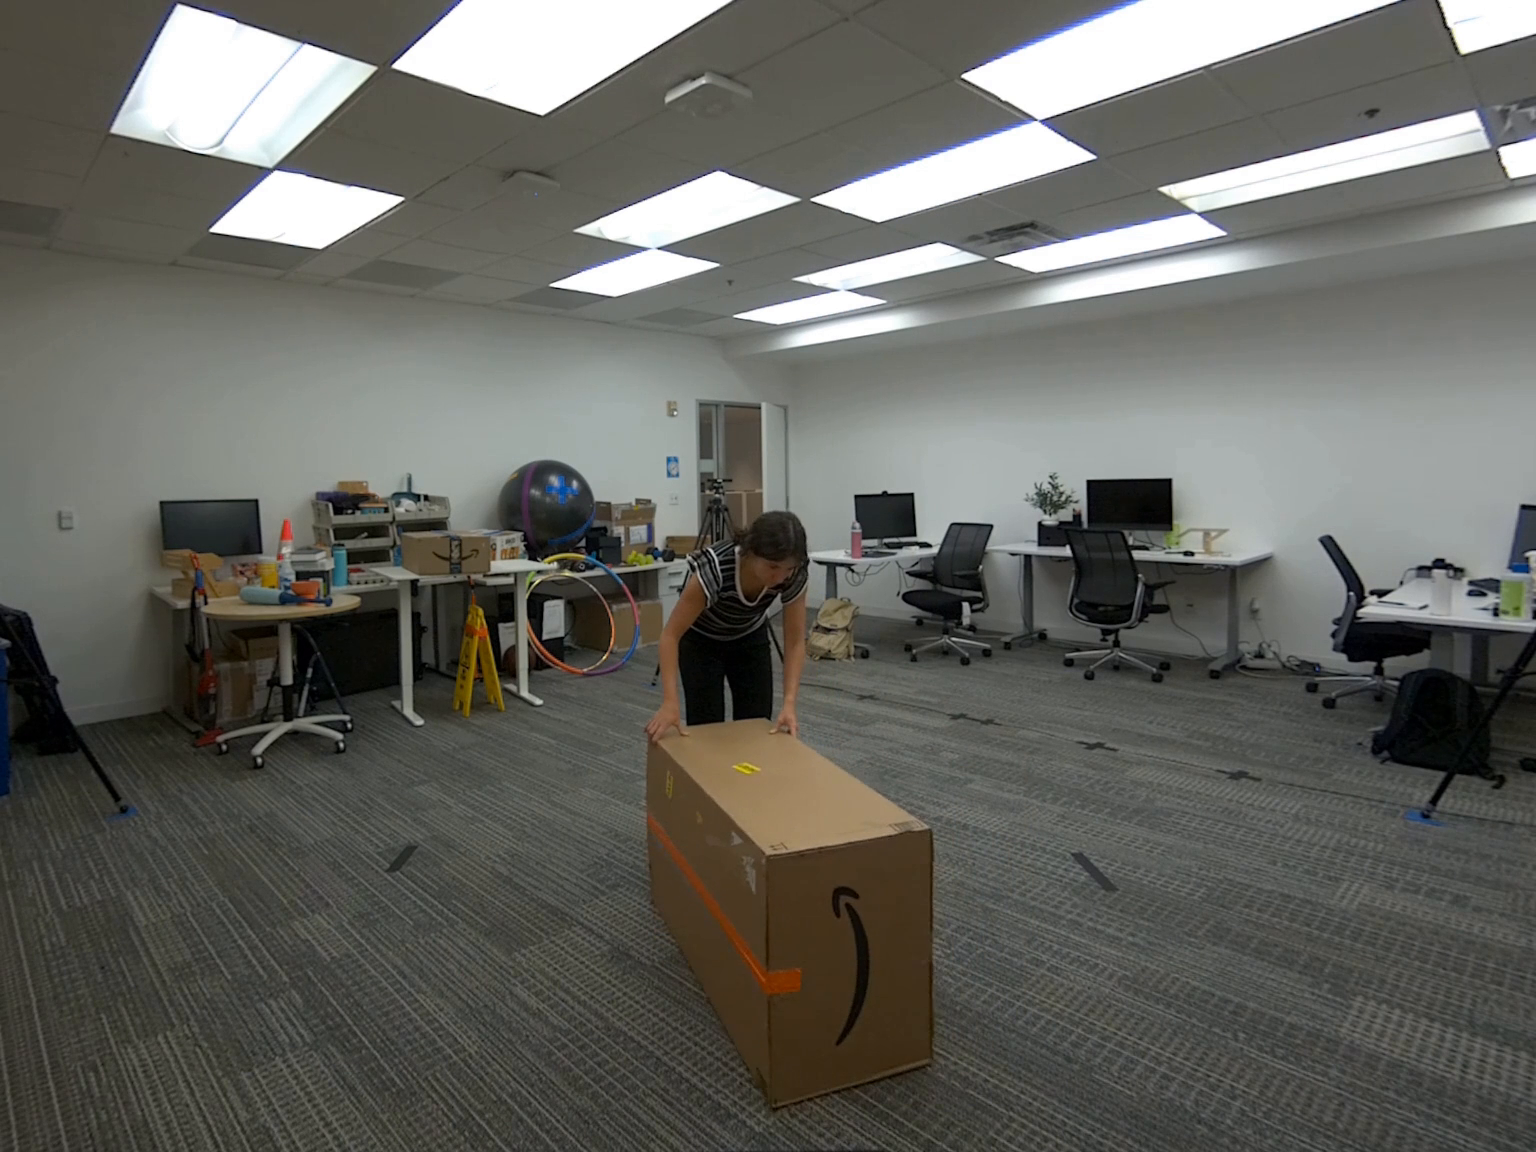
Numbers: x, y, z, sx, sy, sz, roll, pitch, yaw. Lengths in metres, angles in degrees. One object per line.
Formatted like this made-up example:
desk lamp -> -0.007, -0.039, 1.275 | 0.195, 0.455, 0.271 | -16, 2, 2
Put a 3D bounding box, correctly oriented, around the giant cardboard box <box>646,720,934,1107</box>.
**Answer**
giant cardboard box -> 0.001, 0.833, 2.419 | 0.418, 0.575, 1.049 | -3, 6, -22
